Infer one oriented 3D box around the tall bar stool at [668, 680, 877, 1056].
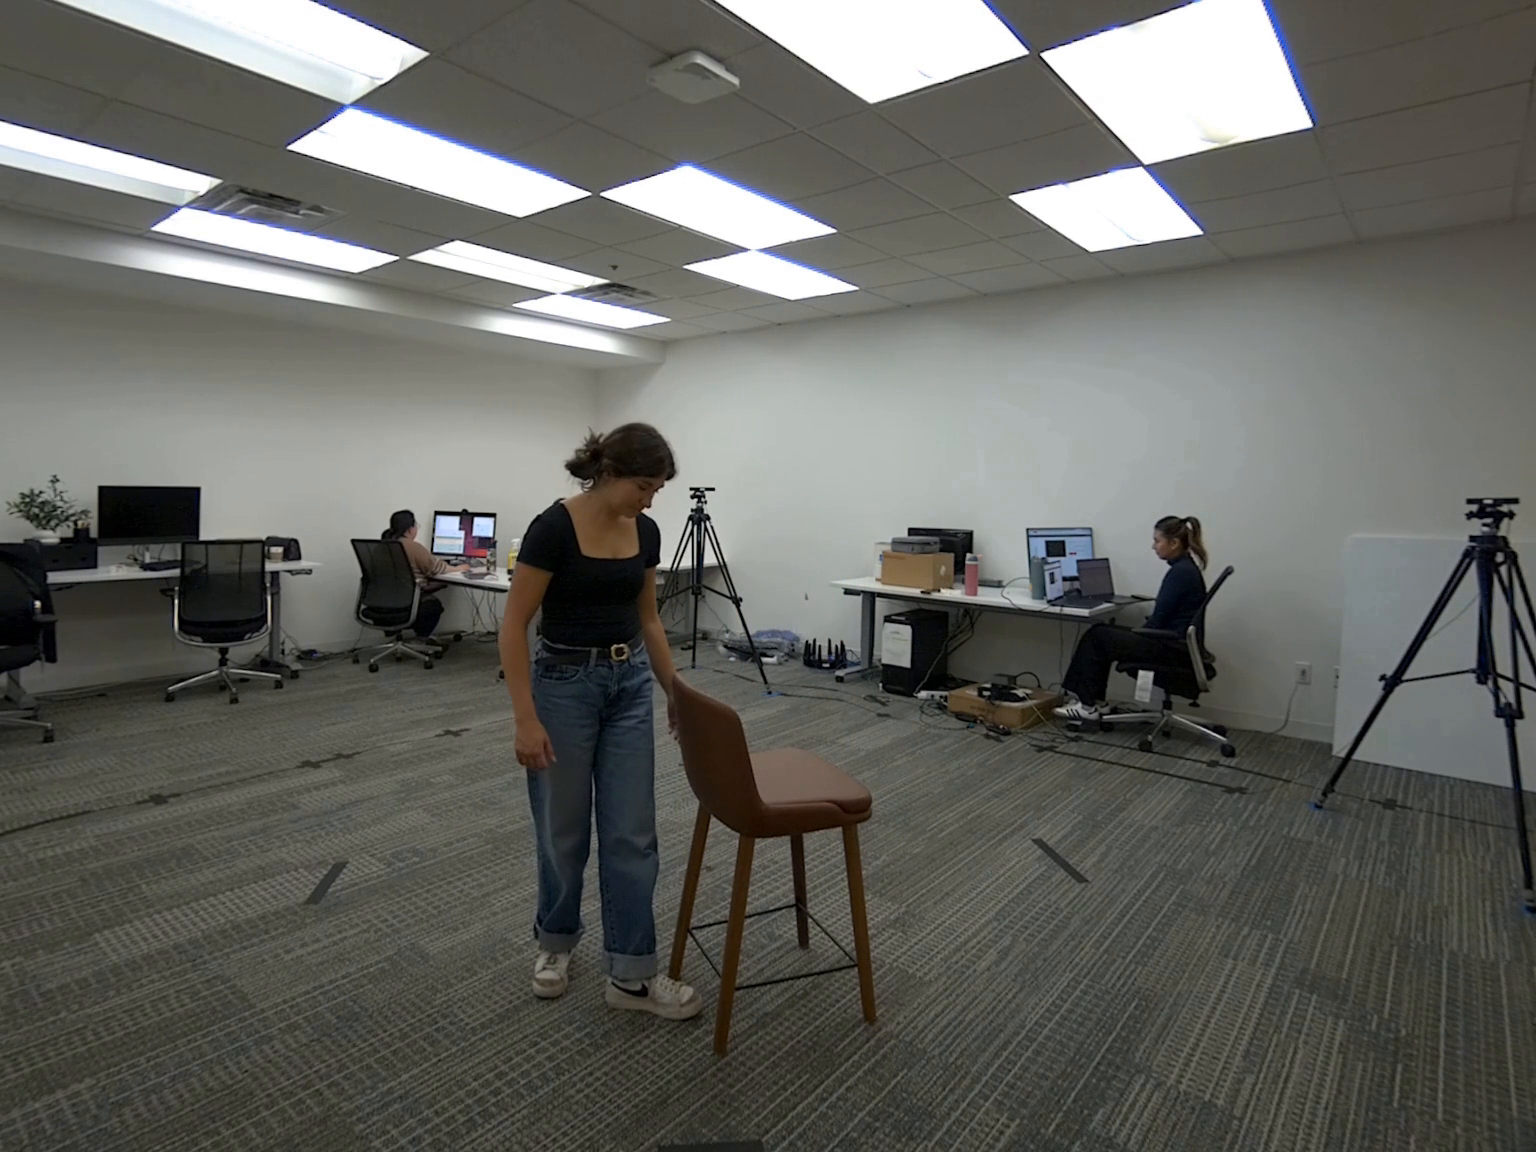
[{"bbox_3d":[-0.004,0.716,2.305,0.457,0.886,0.469,-2,5,-24],"label":"tall bar stool"}]
